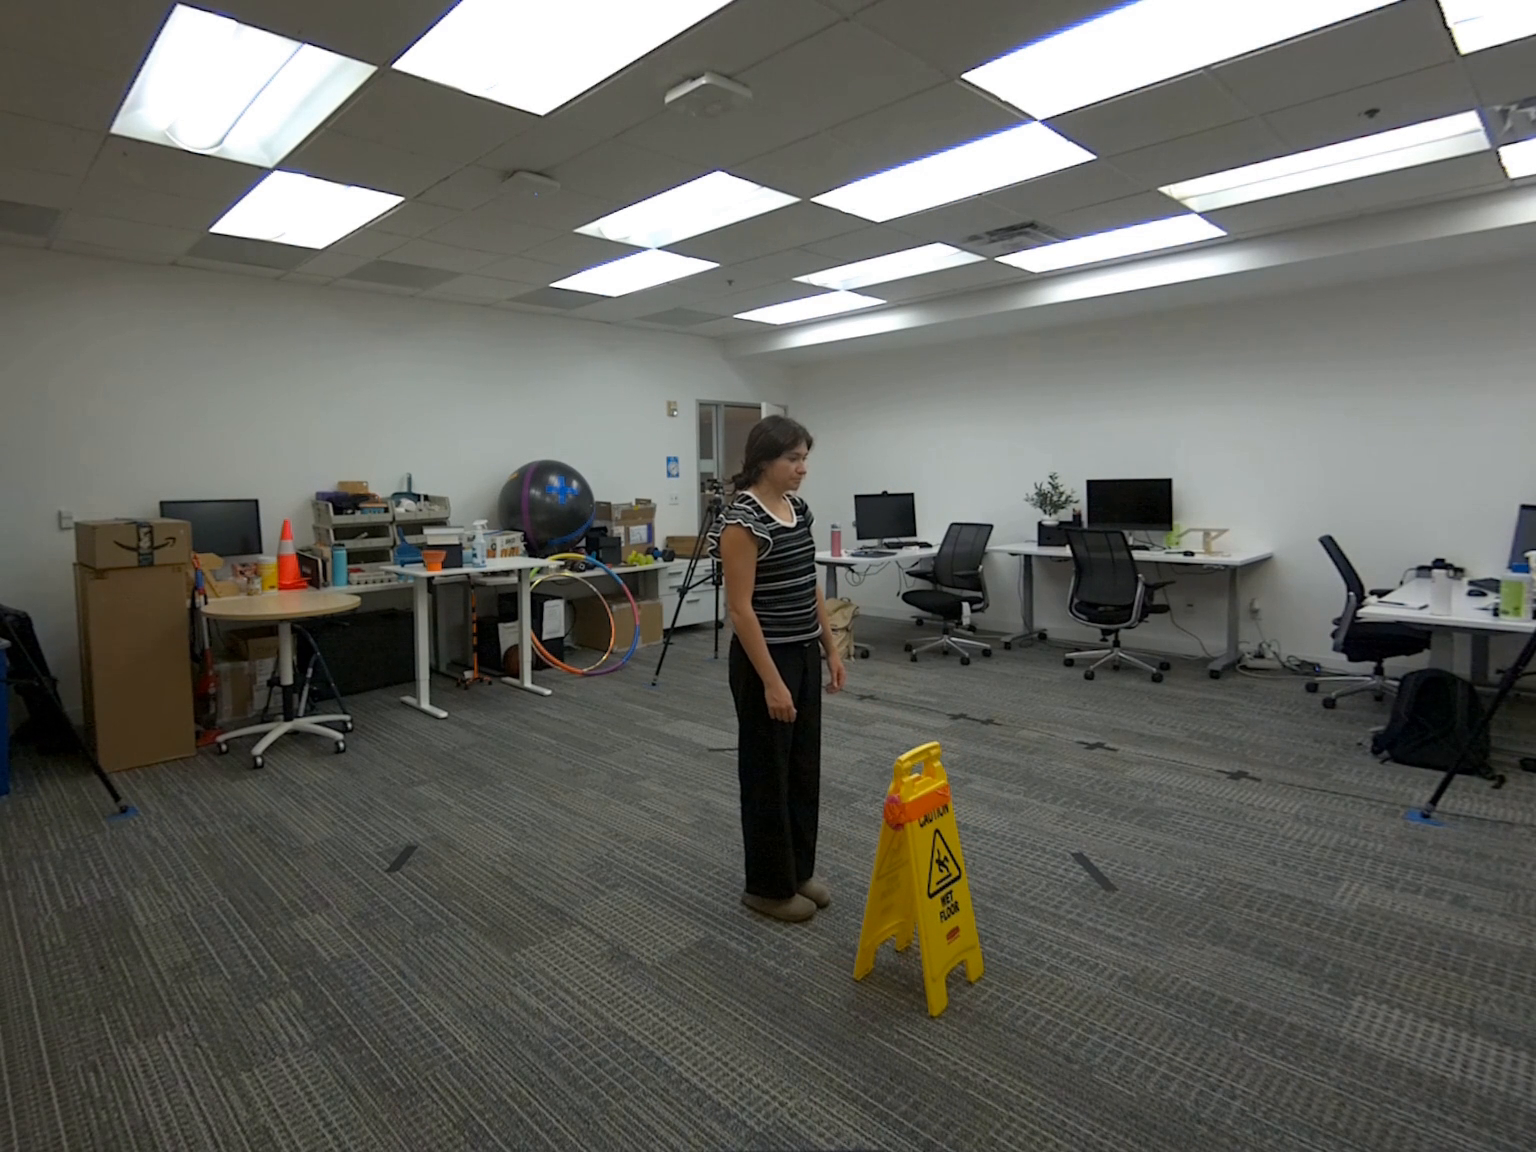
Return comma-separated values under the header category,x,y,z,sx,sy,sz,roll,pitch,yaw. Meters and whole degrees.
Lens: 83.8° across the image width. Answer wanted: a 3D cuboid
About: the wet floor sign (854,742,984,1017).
category,x,y,z,sx,sy,sz,roll,pitch,yaw
wet floor sign,0.426,0.801,2.358,0.299,0.643,0.275,4,7,43
